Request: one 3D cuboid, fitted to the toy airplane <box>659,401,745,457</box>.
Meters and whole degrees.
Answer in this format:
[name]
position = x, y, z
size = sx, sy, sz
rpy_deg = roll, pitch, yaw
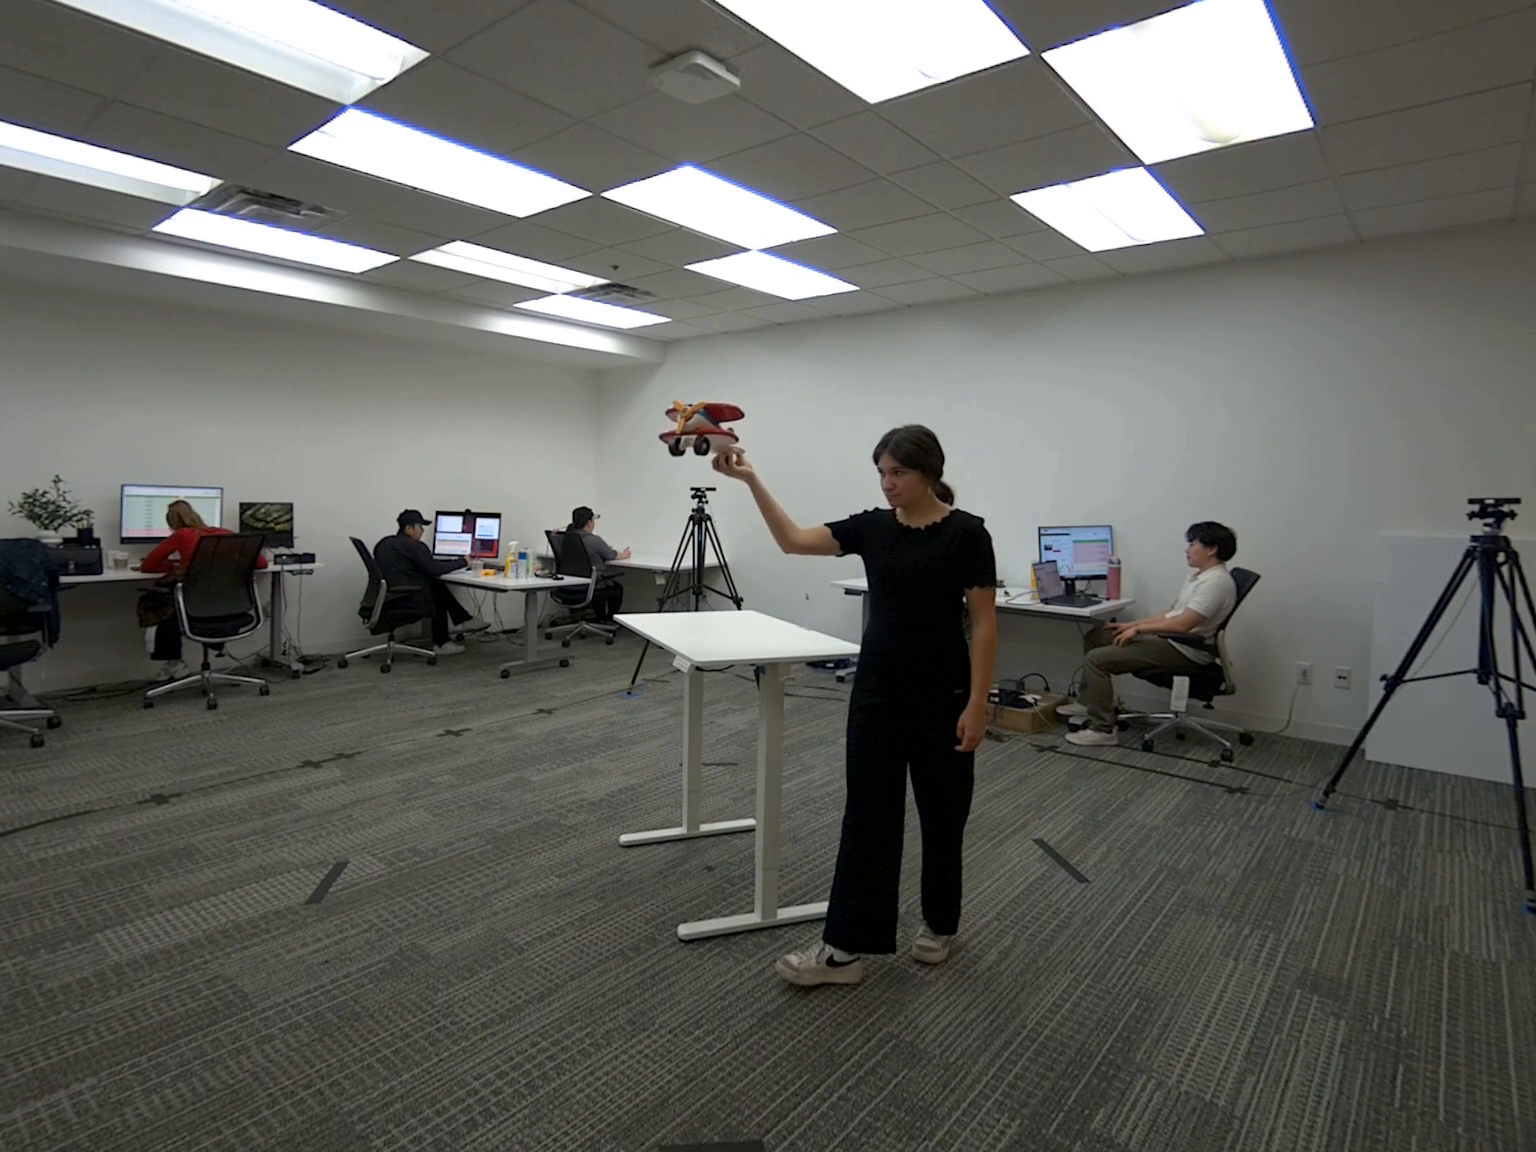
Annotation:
[toy airplane]
position = -0.203, -0.415, 2.472
size = 0.253, 0.157, 0.257
rpy_deg = 6, -3, 4
